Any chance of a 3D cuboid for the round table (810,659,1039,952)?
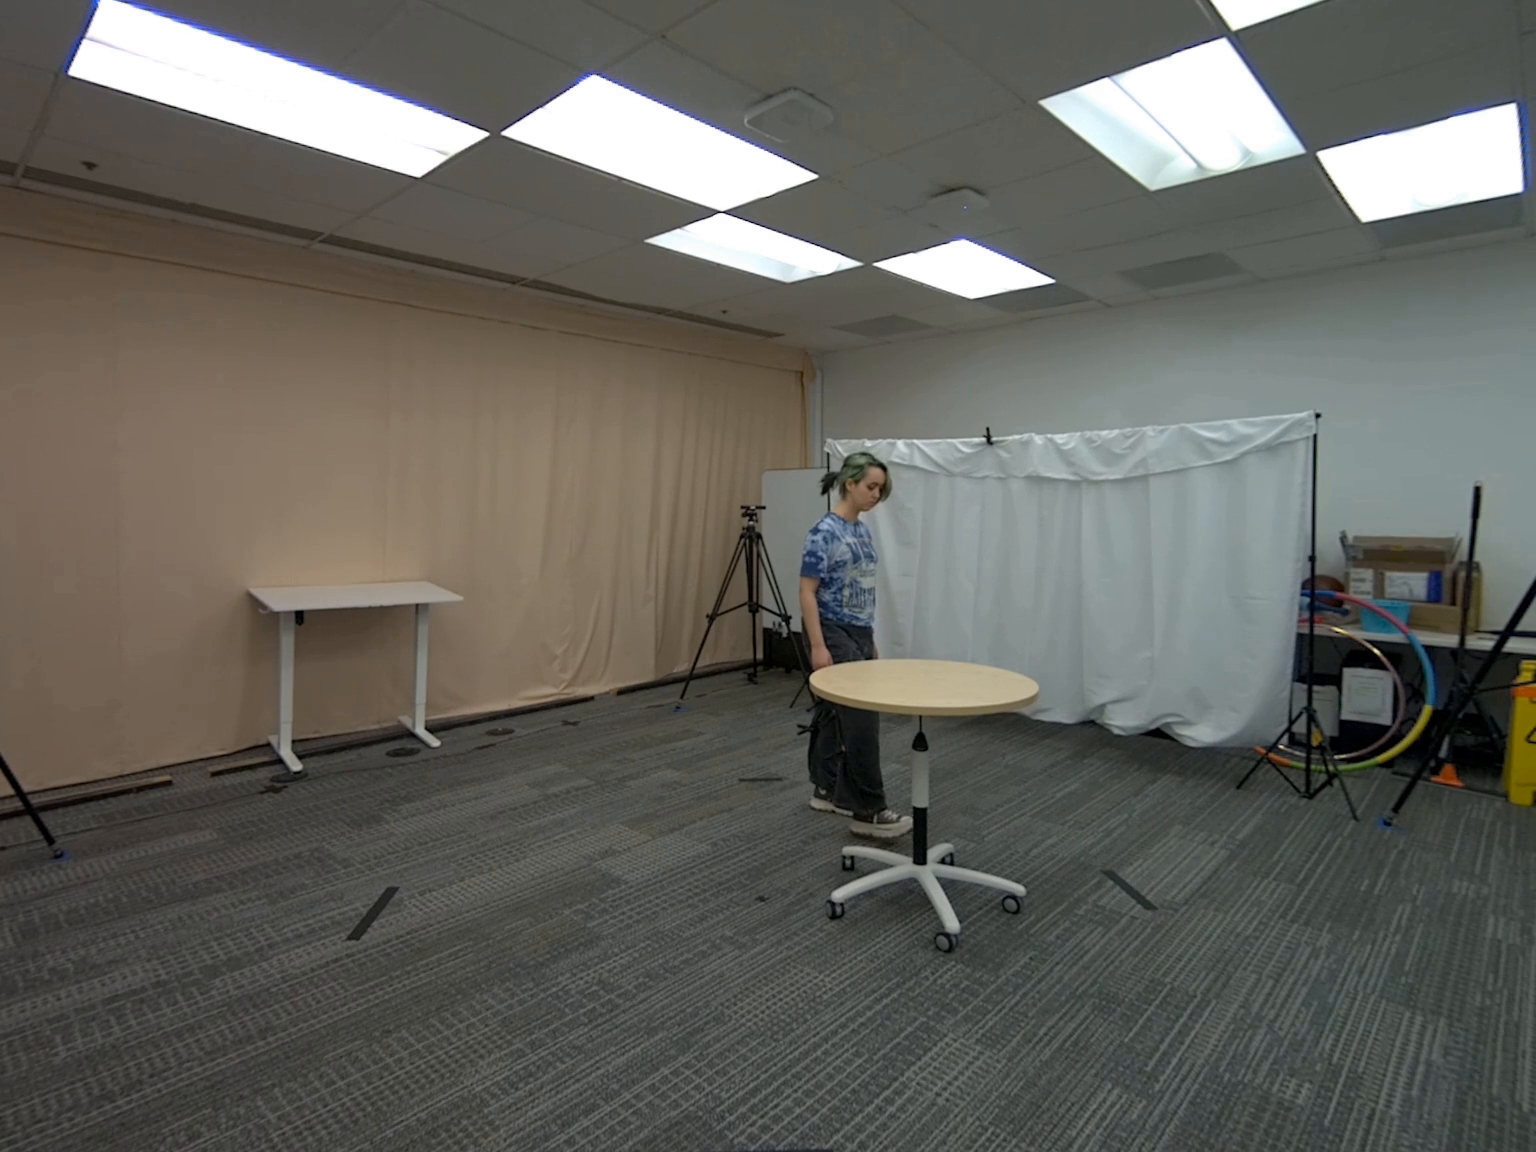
[{"bbox_3d":[0.523,0.752,2.940,0.763,0.792,0.767,0,4,-2],"label":"round table"}]
